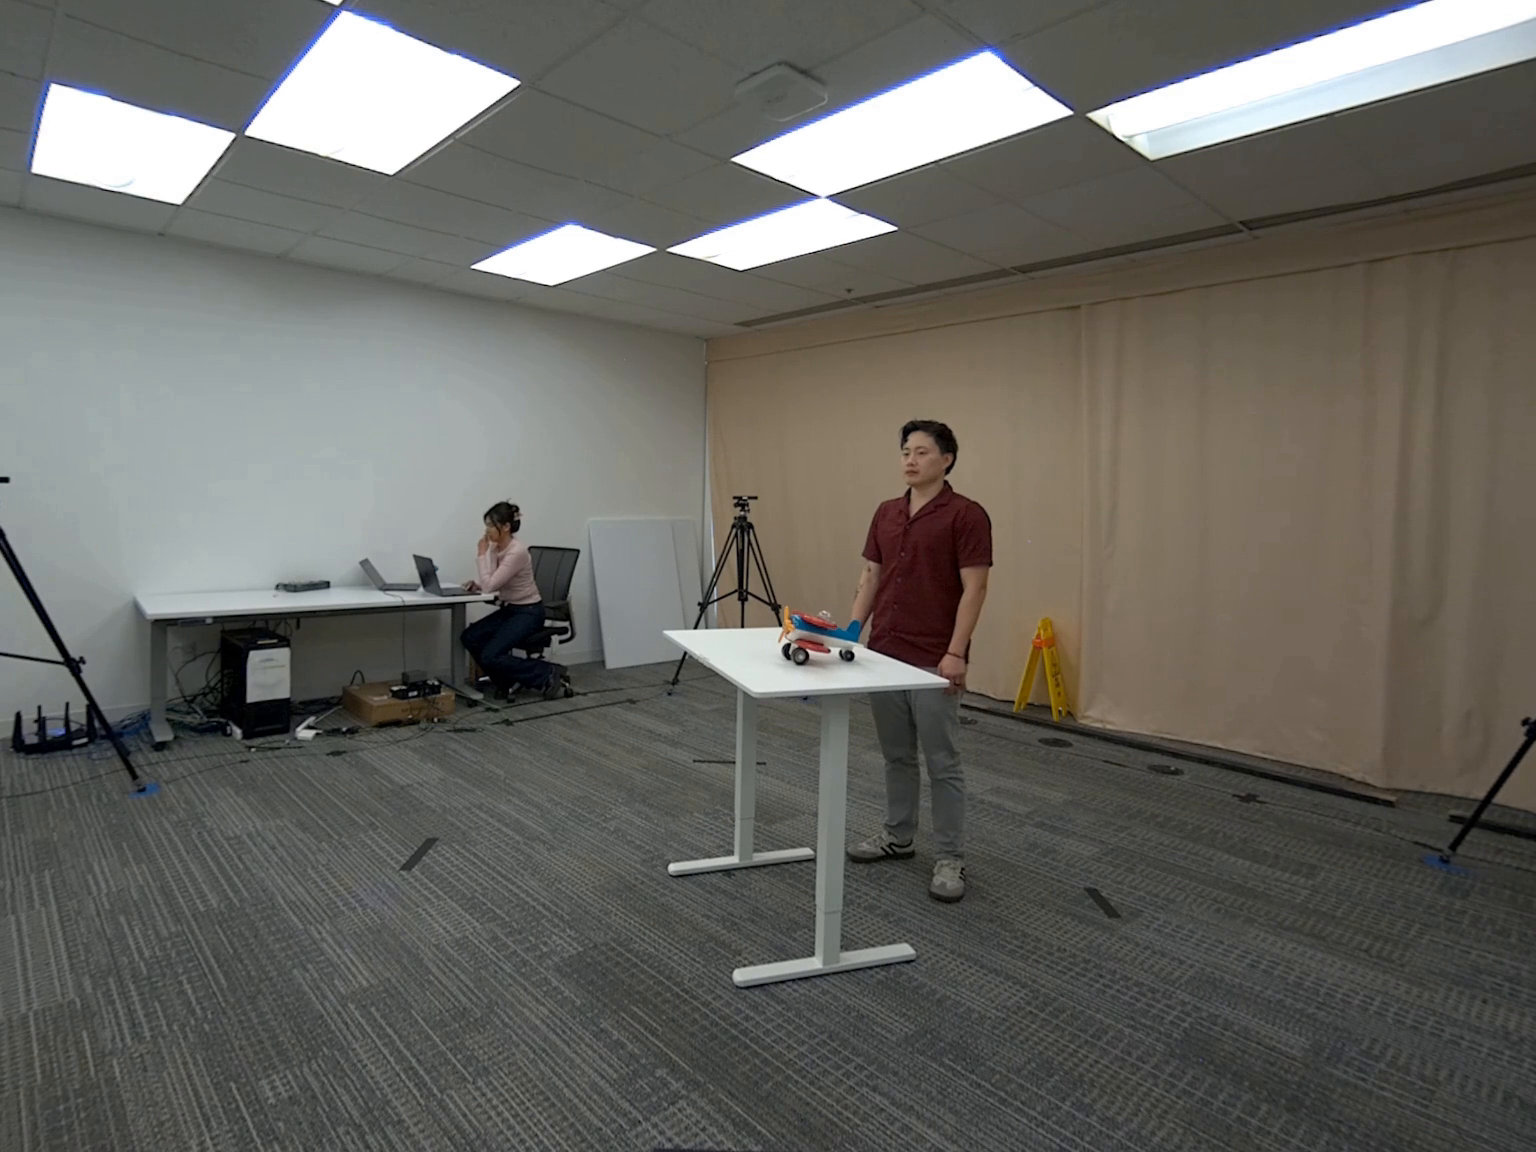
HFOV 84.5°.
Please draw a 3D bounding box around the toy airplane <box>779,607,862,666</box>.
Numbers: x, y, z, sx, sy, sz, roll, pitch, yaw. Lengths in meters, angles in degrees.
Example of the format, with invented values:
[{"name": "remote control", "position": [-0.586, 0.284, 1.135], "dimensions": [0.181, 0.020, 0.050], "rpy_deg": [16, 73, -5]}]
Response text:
[{"name": "toy airplane", "position": [0.153, 0.192, 2.665], "dimensions": [0.253, 0.156, 0.257], "rpy_deg": [-3, 7, -44]}]
